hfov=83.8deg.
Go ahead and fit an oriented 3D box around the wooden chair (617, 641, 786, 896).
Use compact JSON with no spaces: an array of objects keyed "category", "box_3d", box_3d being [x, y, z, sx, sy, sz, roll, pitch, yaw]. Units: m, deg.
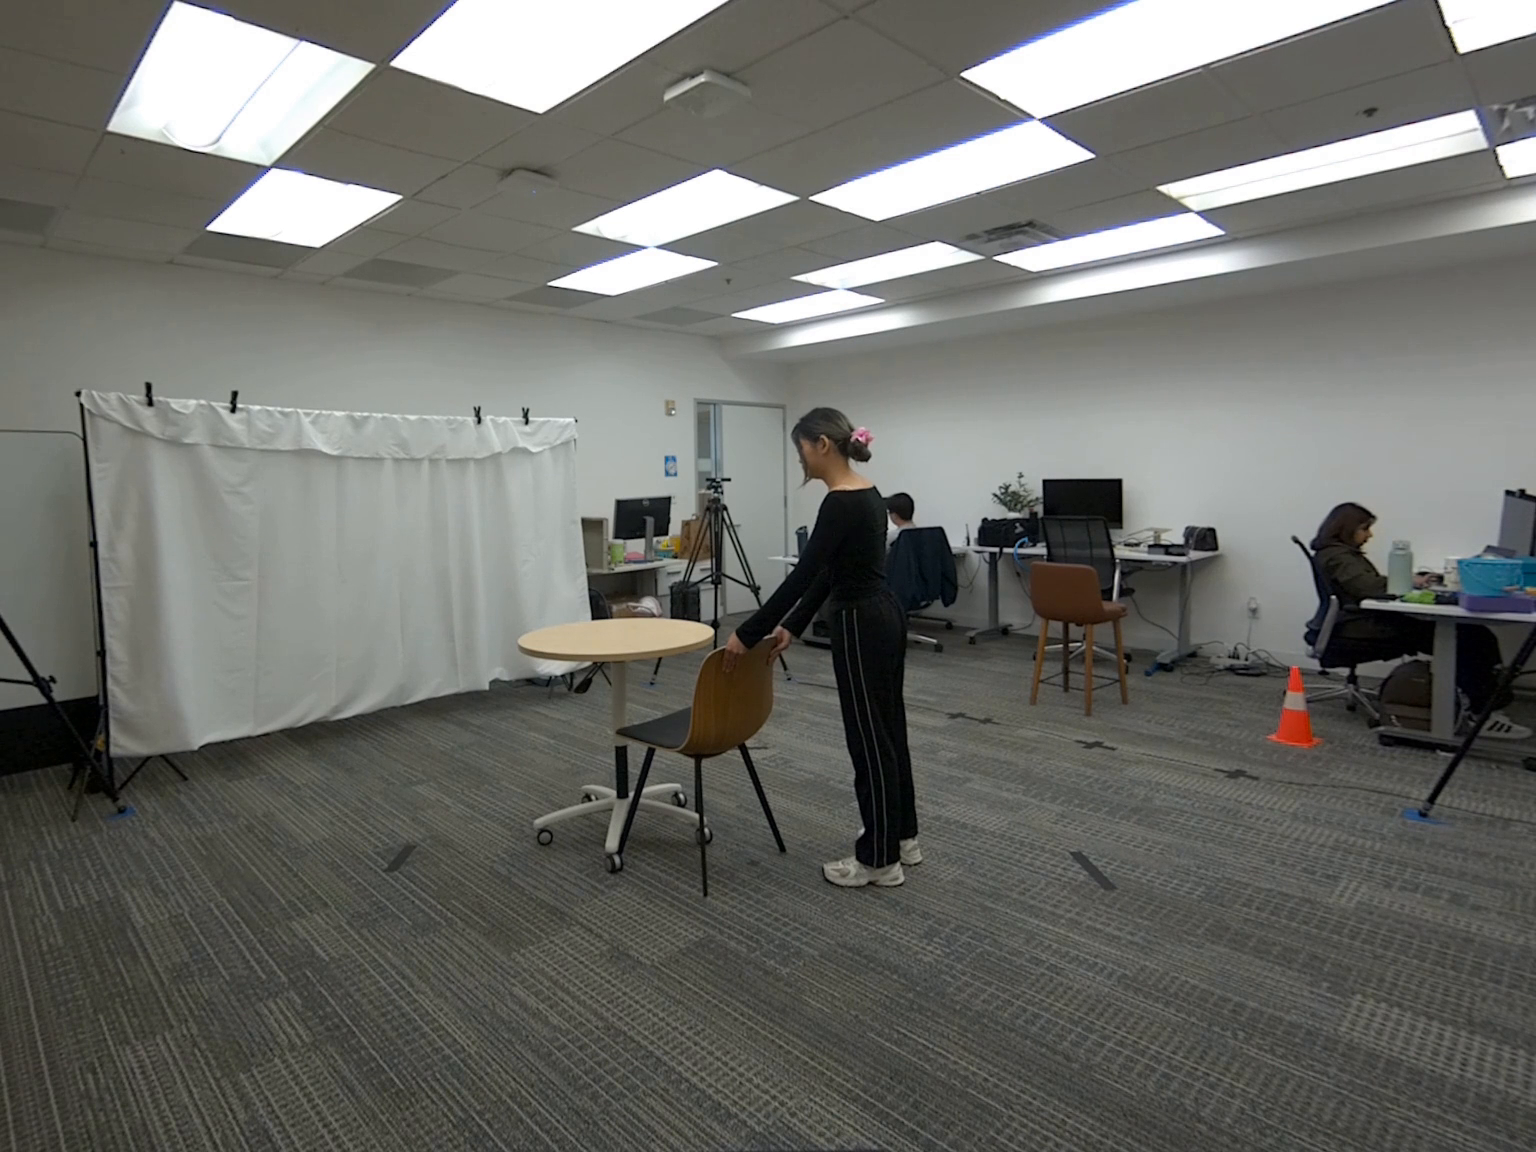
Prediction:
[{"category":"wooden chair","box_3d":[-0.256,0.613,3.135,0.540,0.871,0.466,9,10,39]}]
